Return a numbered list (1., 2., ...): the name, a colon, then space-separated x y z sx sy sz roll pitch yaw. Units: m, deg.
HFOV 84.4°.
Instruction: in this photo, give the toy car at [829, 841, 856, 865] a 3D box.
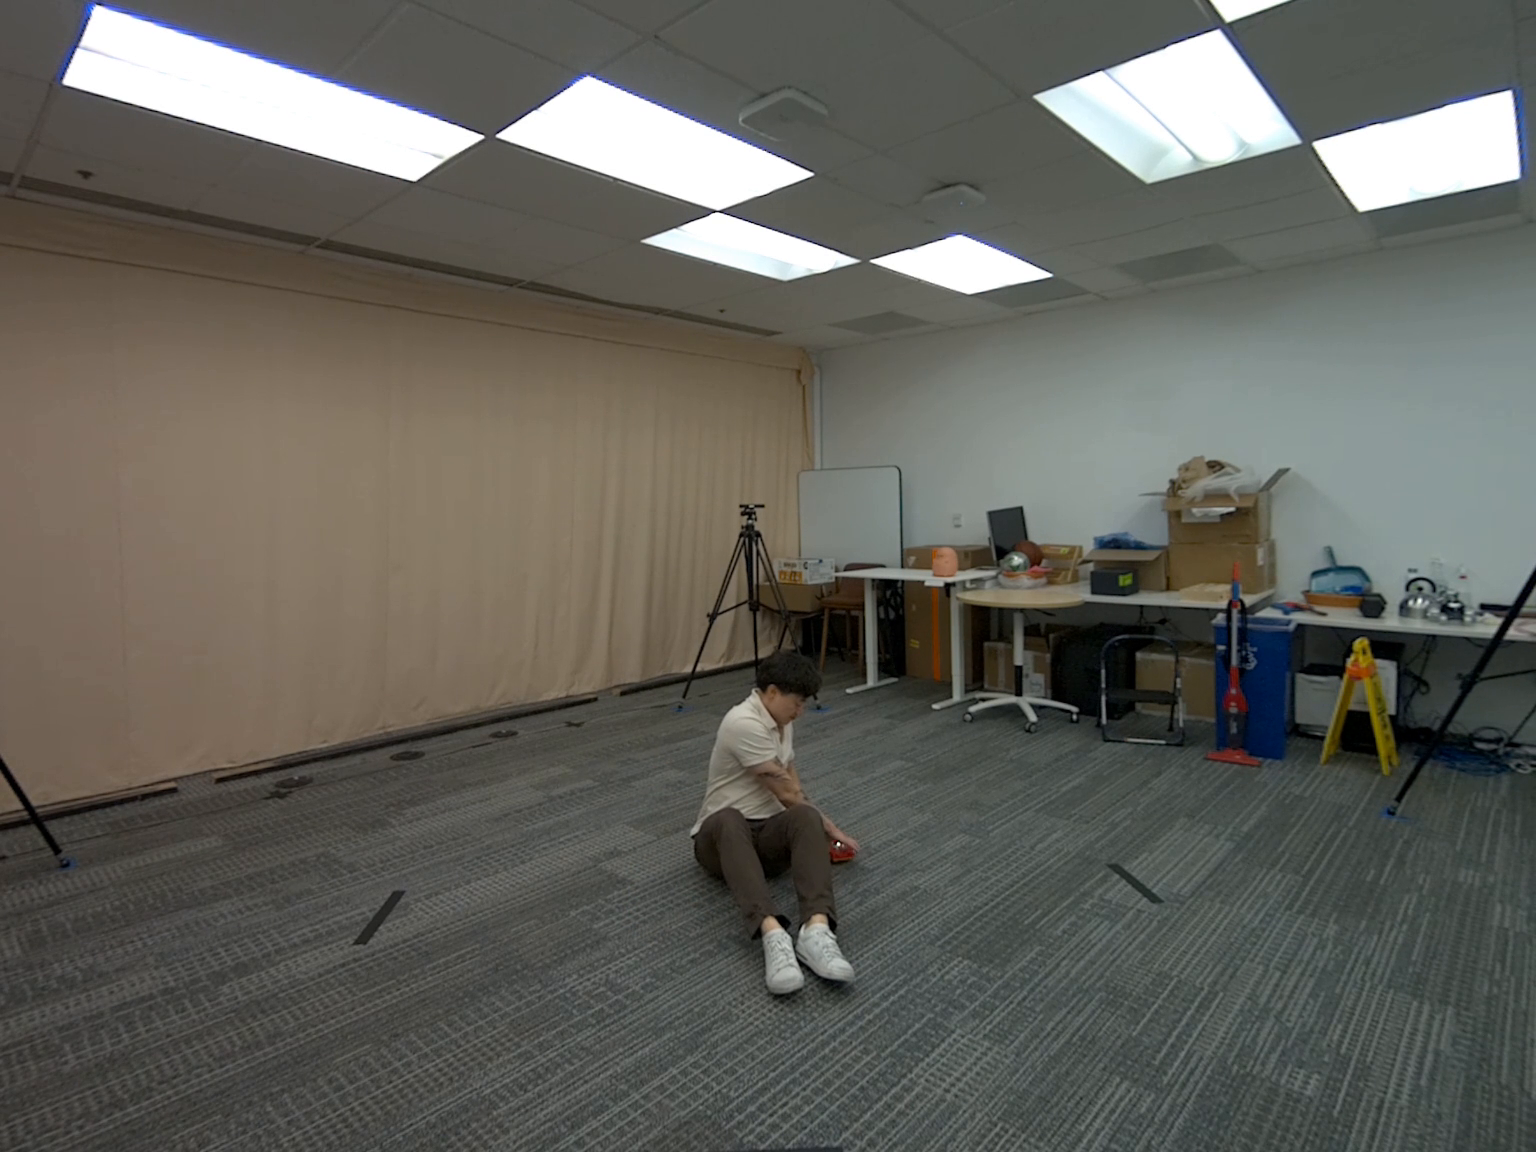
1. toy car: 0.257 1.074 3.324 0.128 0.083 0.257 -2 -5 -16
